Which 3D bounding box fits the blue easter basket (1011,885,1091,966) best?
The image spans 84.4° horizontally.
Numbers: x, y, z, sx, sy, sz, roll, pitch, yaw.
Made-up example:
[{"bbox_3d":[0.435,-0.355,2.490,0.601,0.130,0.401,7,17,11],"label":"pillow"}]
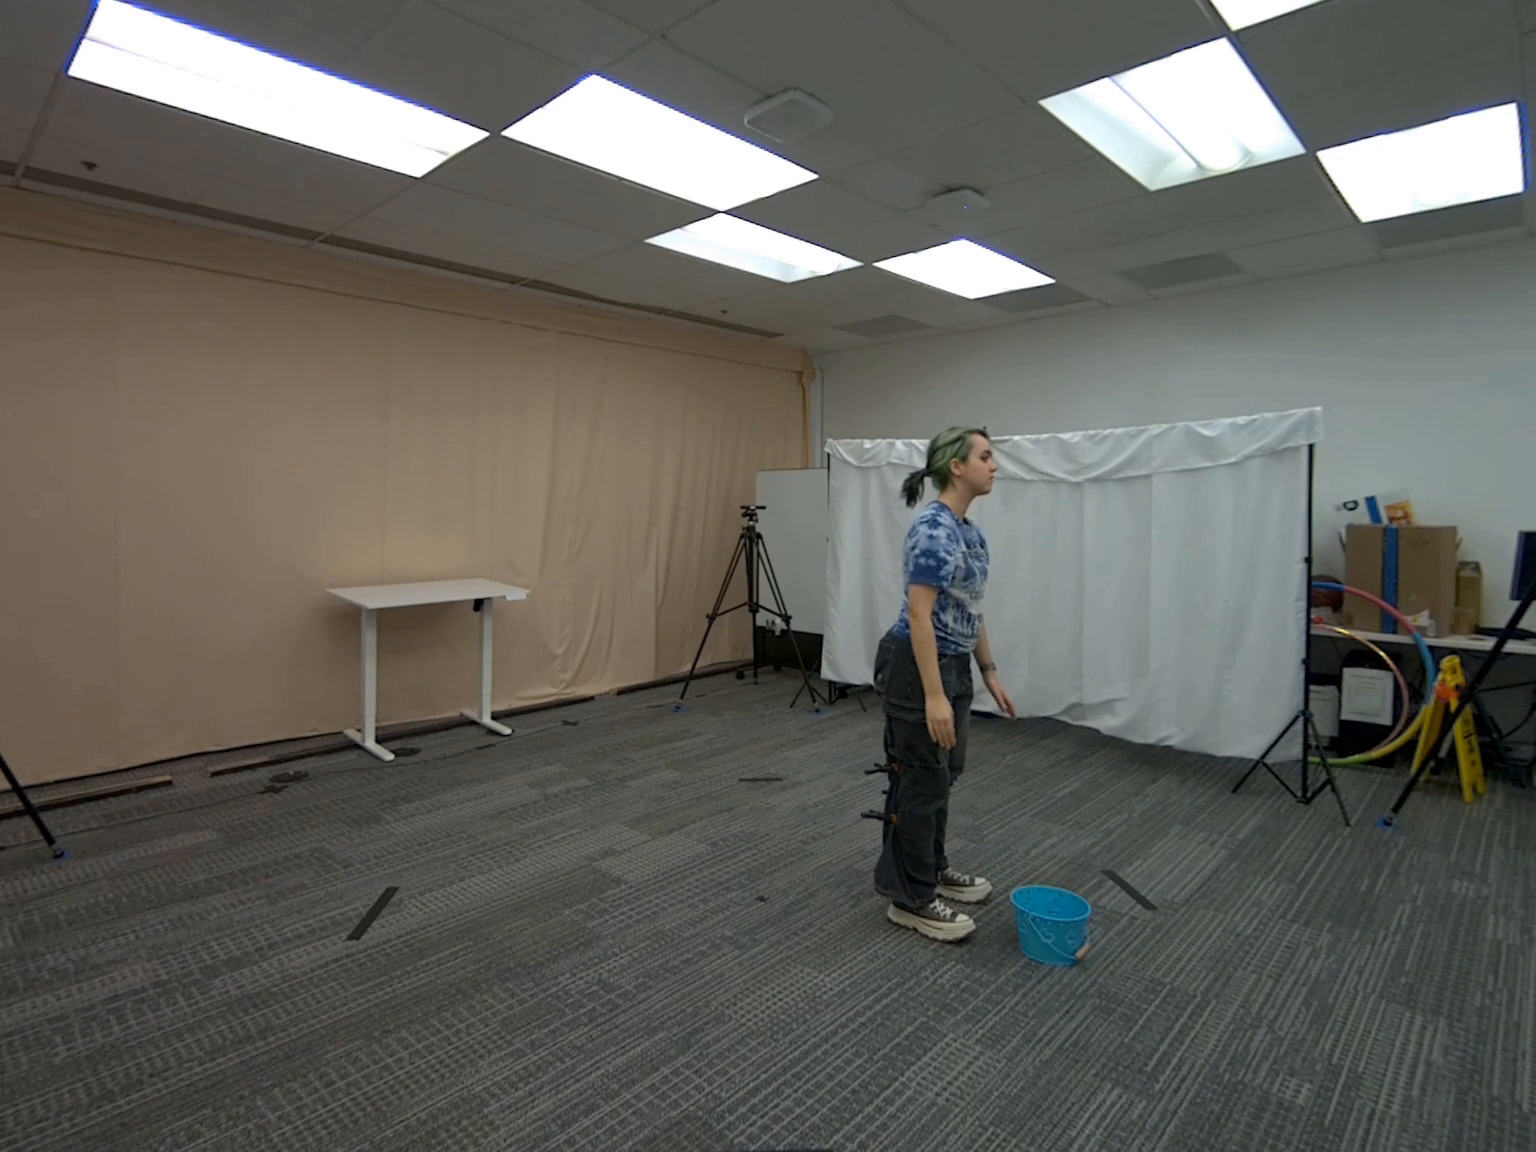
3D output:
[{"bbox_3d":[0.888,1.094,2.626,0.243,0.155,0.244,-1,4,-2],"label":"blue easter basket"}]
